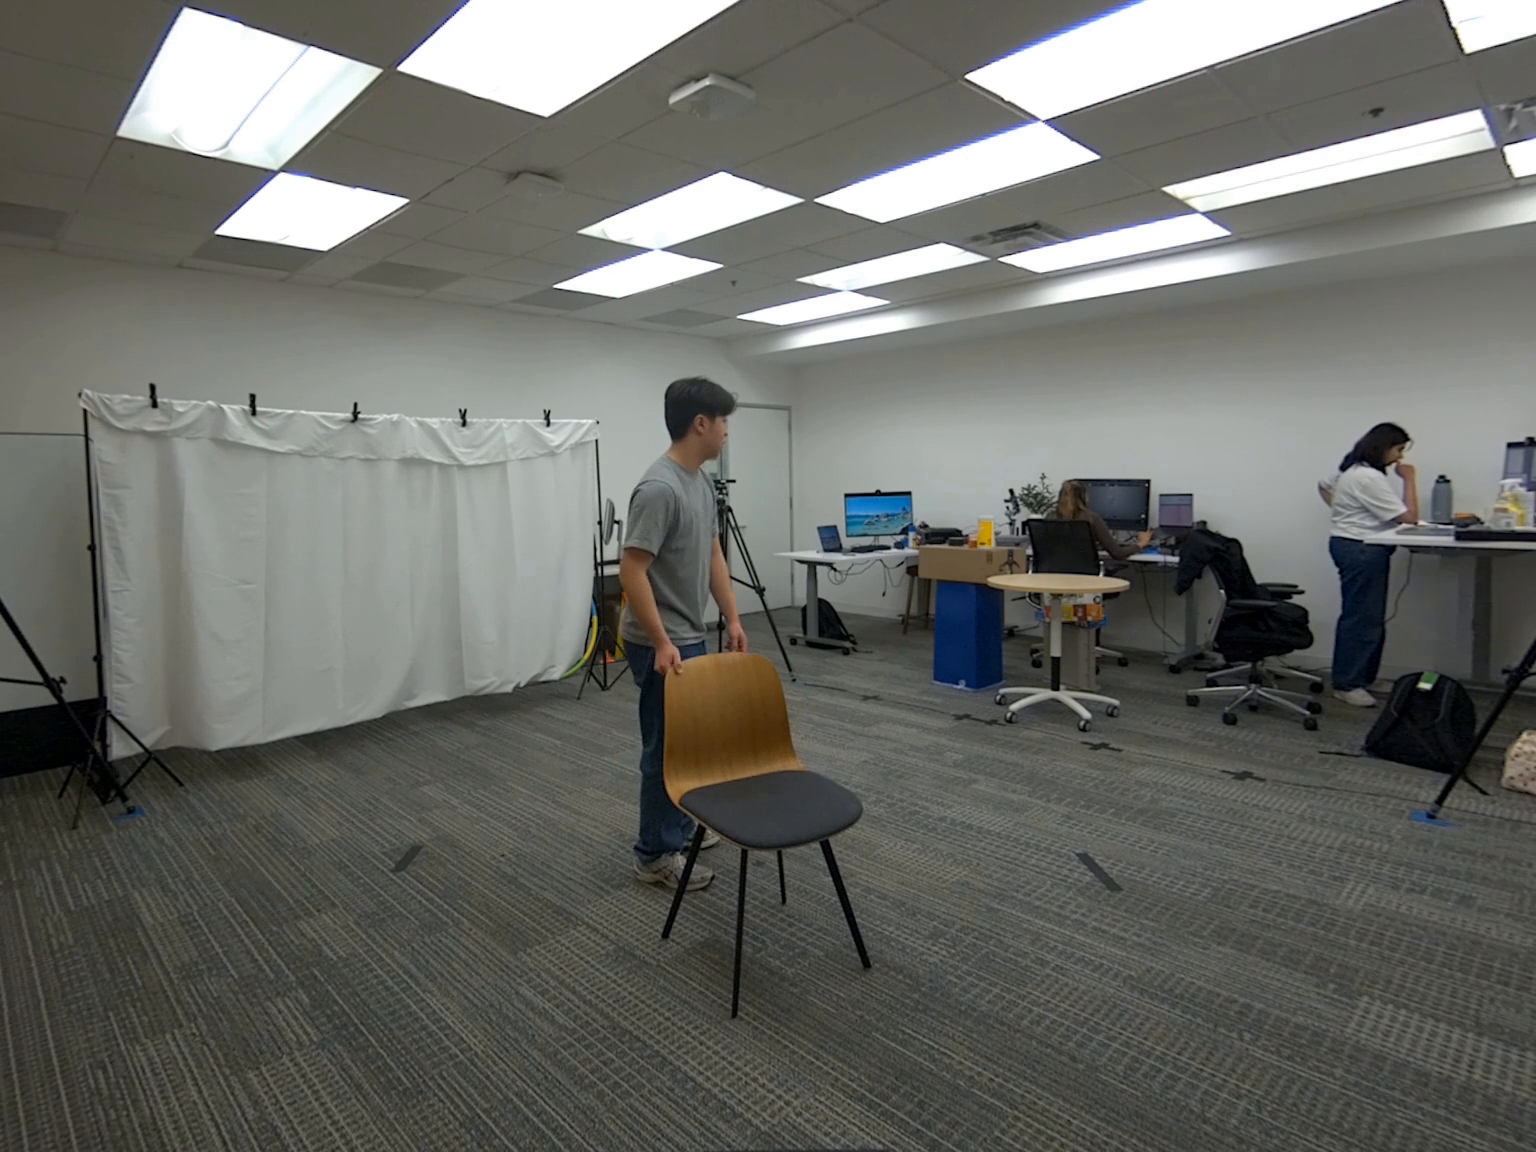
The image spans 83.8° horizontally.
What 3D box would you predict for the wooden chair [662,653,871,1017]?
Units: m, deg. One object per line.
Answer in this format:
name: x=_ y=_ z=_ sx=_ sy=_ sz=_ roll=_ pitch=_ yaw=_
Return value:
wooden chair: x=-0.017 y=0.691 z=2.481 sx=0.467 sy=0.877 sz=0.535 roll=-3 pitch=0 yaw=-30
